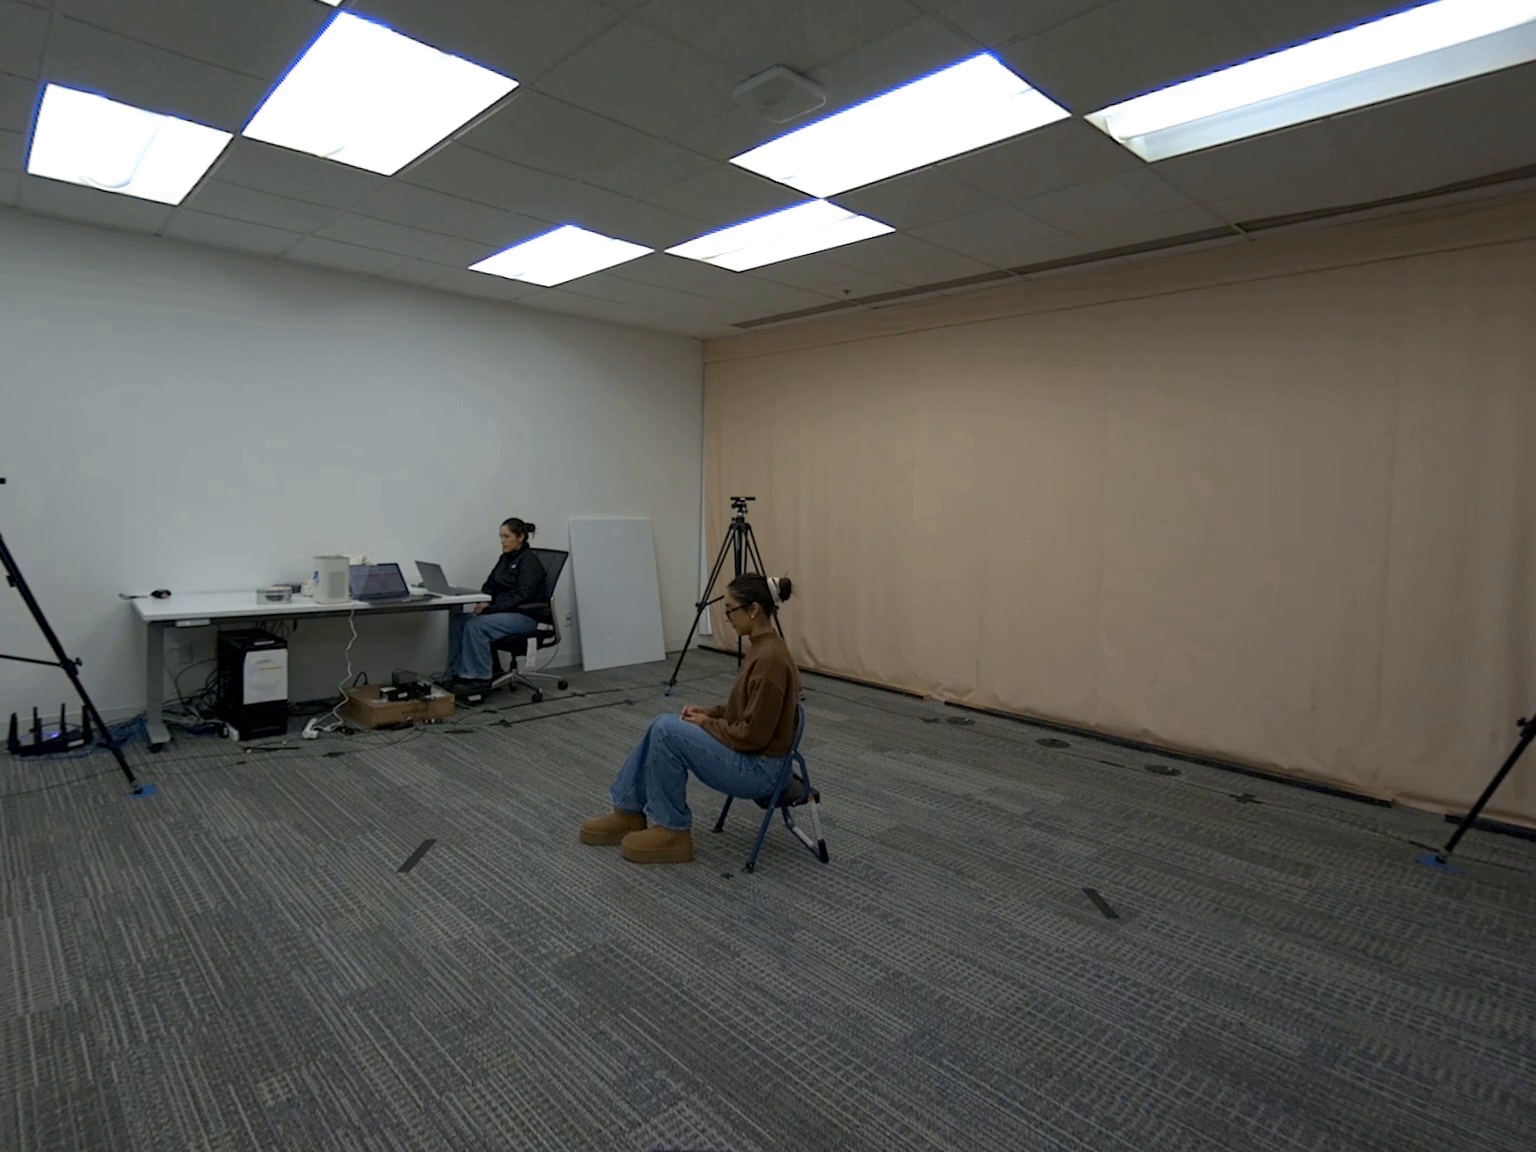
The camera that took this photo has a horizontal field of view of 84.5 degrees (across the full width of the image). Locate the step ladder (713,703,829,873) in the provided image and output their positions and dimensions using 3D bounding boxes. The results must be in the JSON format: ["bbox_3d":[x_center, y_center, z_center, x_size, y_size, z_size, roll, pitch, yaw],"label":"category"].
[{"bbox_3d":[0.006,0.791,3.364,0.344,0.604,0.438,0,4,-20],"label":"step ladder"}]
